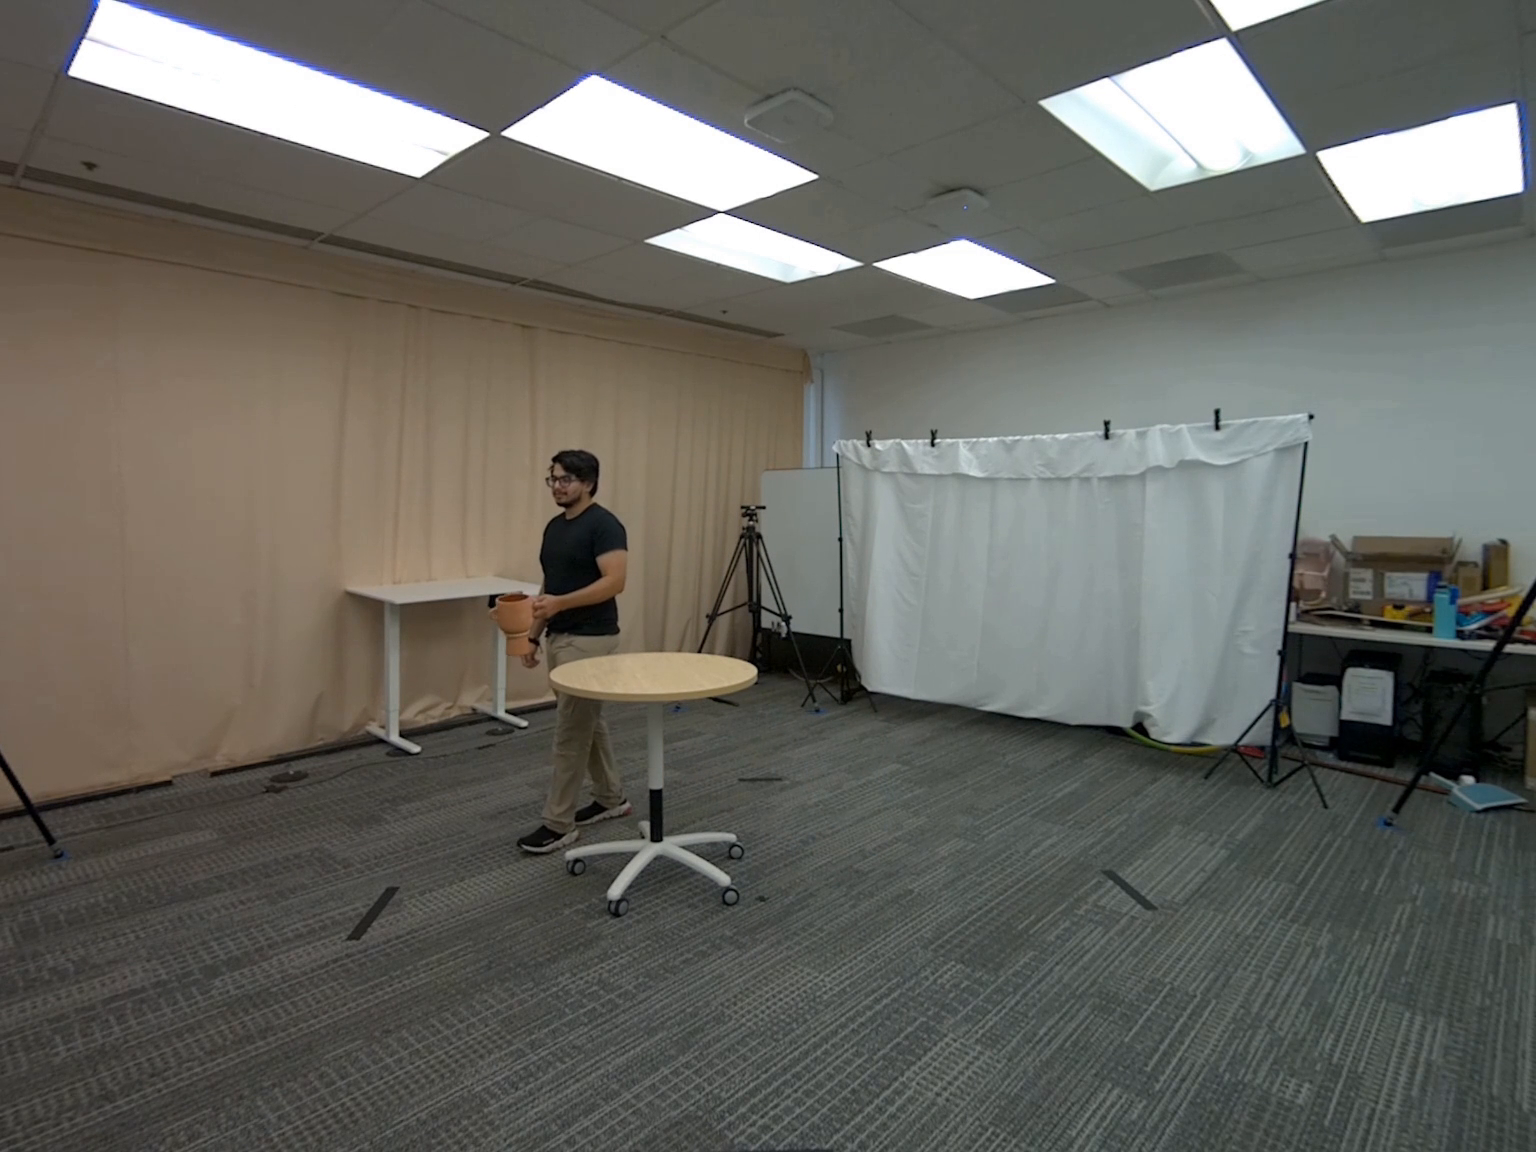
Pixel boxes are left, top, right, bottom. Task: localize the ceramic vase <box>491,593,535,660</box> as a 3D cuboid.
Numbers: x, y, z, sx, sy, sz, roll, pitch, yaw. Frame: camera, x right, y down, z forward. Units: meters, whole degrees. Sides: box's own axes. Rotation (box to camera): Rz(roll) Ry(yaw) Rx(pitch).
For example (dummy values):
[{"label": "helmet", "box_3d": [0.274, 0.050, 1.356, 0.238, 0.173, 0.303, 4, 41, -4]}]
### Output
[{"label": "ceramic vase", "box_3d": [-0.982, 0.189, 3.269, 0.160, 0.218, 0.134, -1, 14, 9]}]
